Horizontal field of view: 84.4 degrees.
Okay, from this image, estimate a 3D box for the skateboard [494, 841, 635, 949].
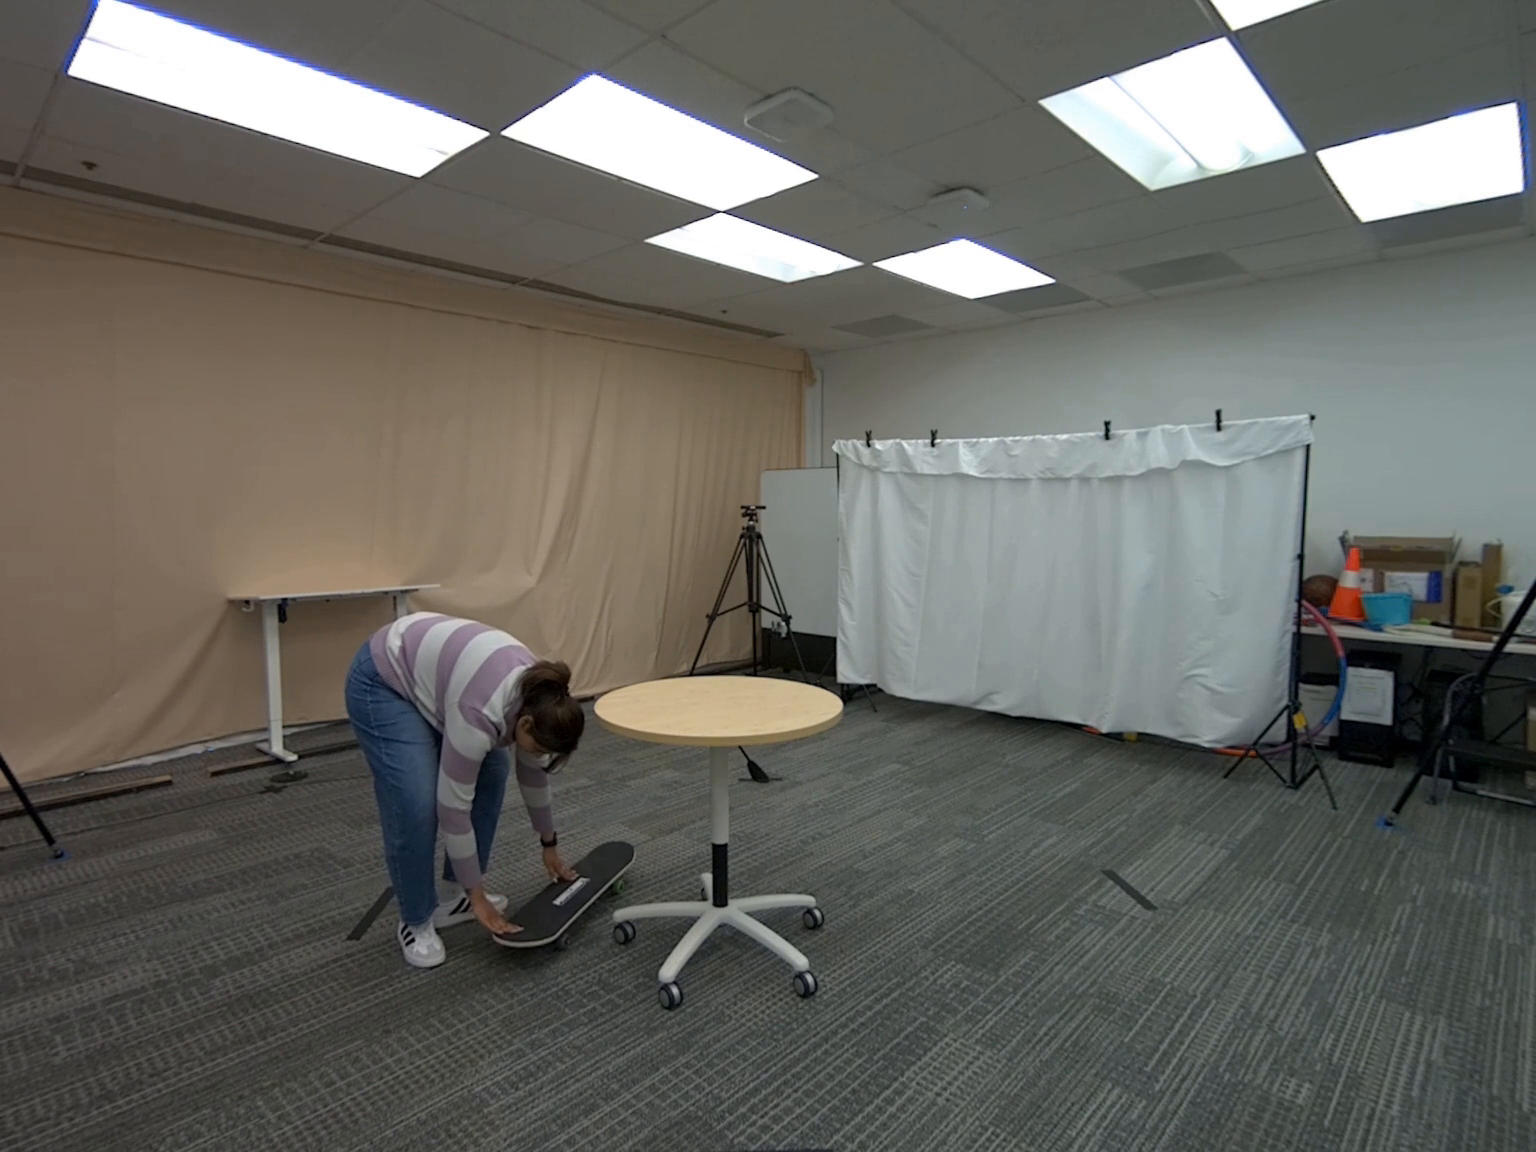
[{"bbox_3d":[-0.663,1.104,2.866,0.197,0.110,0.774,1,6,14],"label":"skateboard"}]
